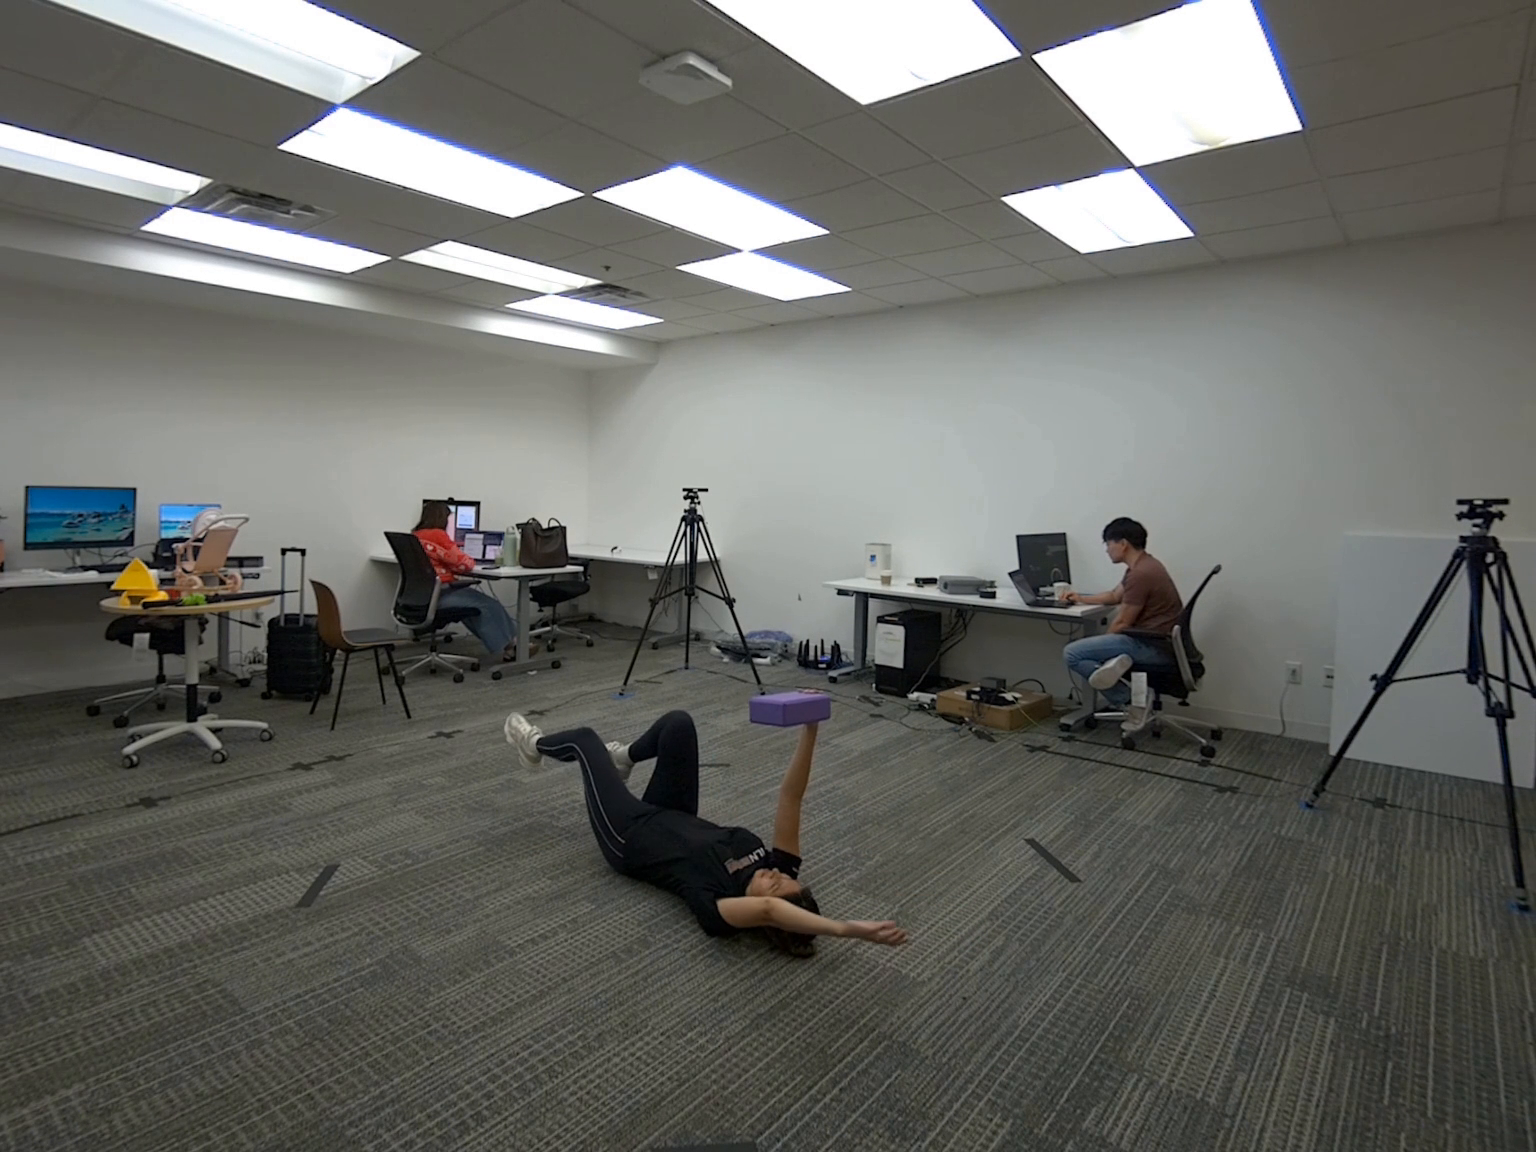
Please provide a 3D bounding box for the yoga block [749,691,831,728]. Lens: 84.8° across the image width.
[{"bbox_3d":[0.059,0.402,2.620,0.153,0.077,0.222,-2,-2,44],"label":"yoga block"}]
